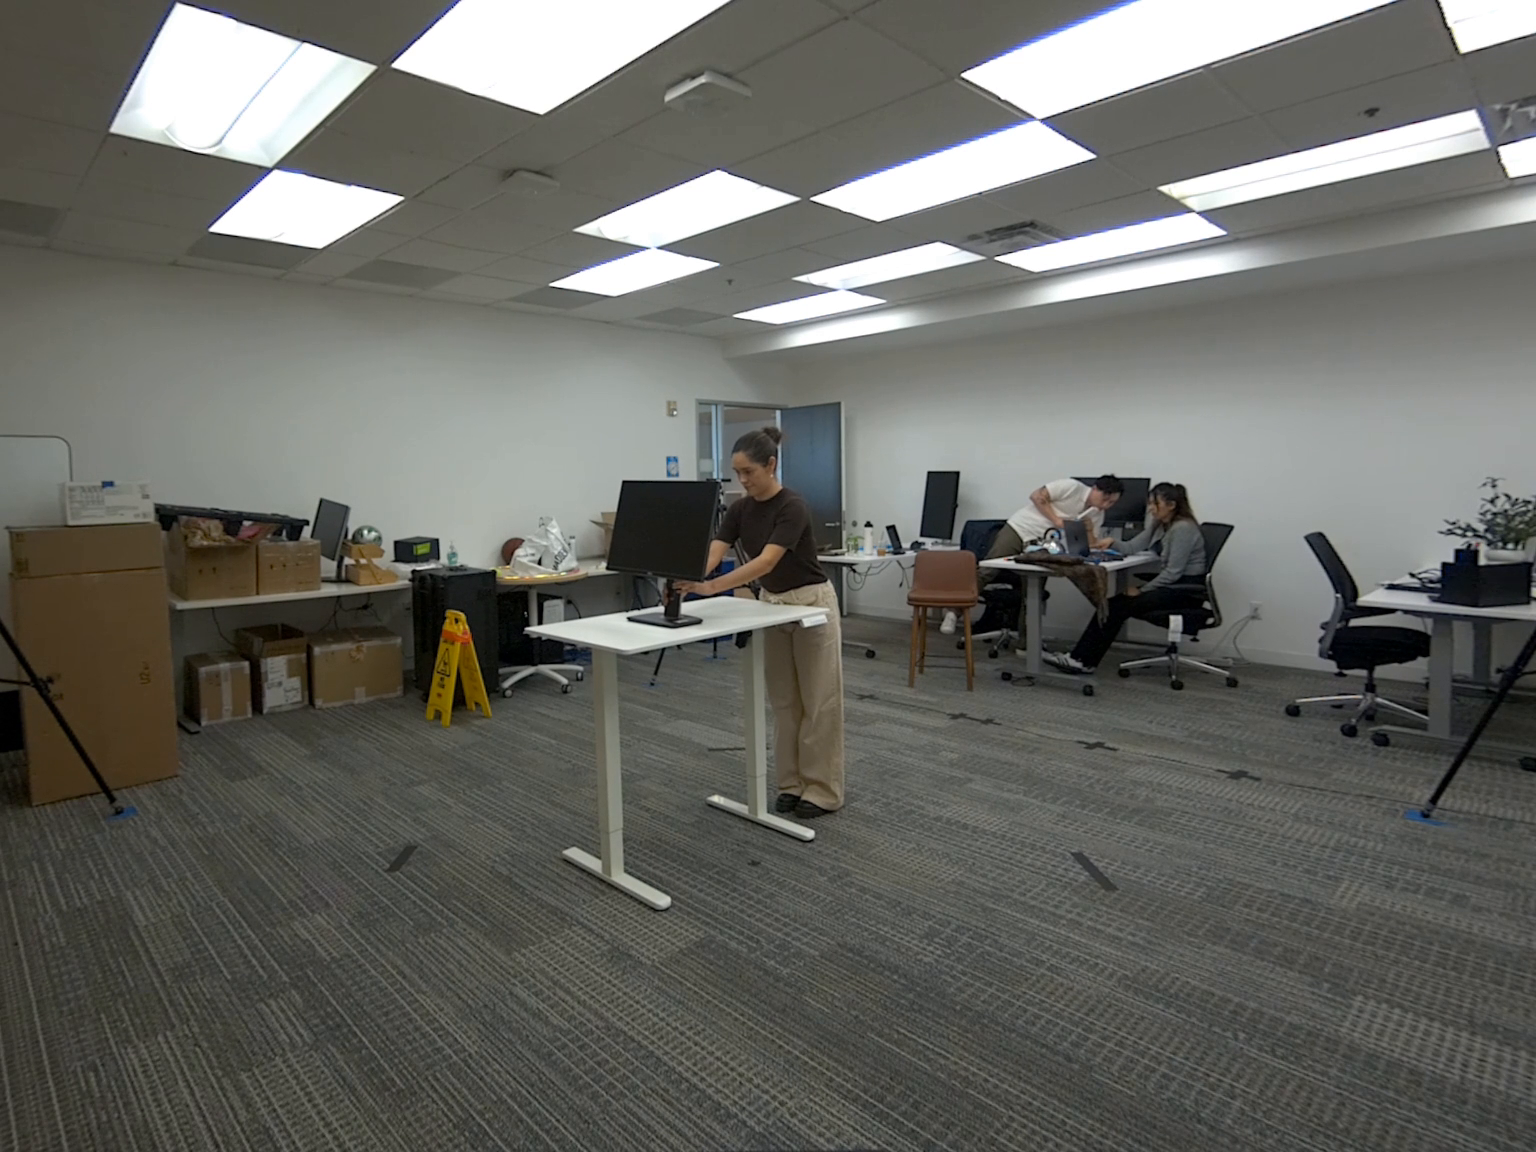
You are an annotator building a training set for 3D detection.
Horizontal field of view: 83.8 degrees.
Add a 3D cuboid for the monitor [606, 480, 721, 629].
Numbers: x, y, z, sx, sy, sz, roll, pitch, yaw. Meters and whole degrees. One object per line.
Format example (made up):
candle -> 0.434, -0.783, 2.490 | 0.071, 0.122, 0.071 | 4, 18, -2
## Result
monitor -> -0.372, -0.088, 3.110 | 0.547, 0.513, 0.170 | 5, 10, 43
